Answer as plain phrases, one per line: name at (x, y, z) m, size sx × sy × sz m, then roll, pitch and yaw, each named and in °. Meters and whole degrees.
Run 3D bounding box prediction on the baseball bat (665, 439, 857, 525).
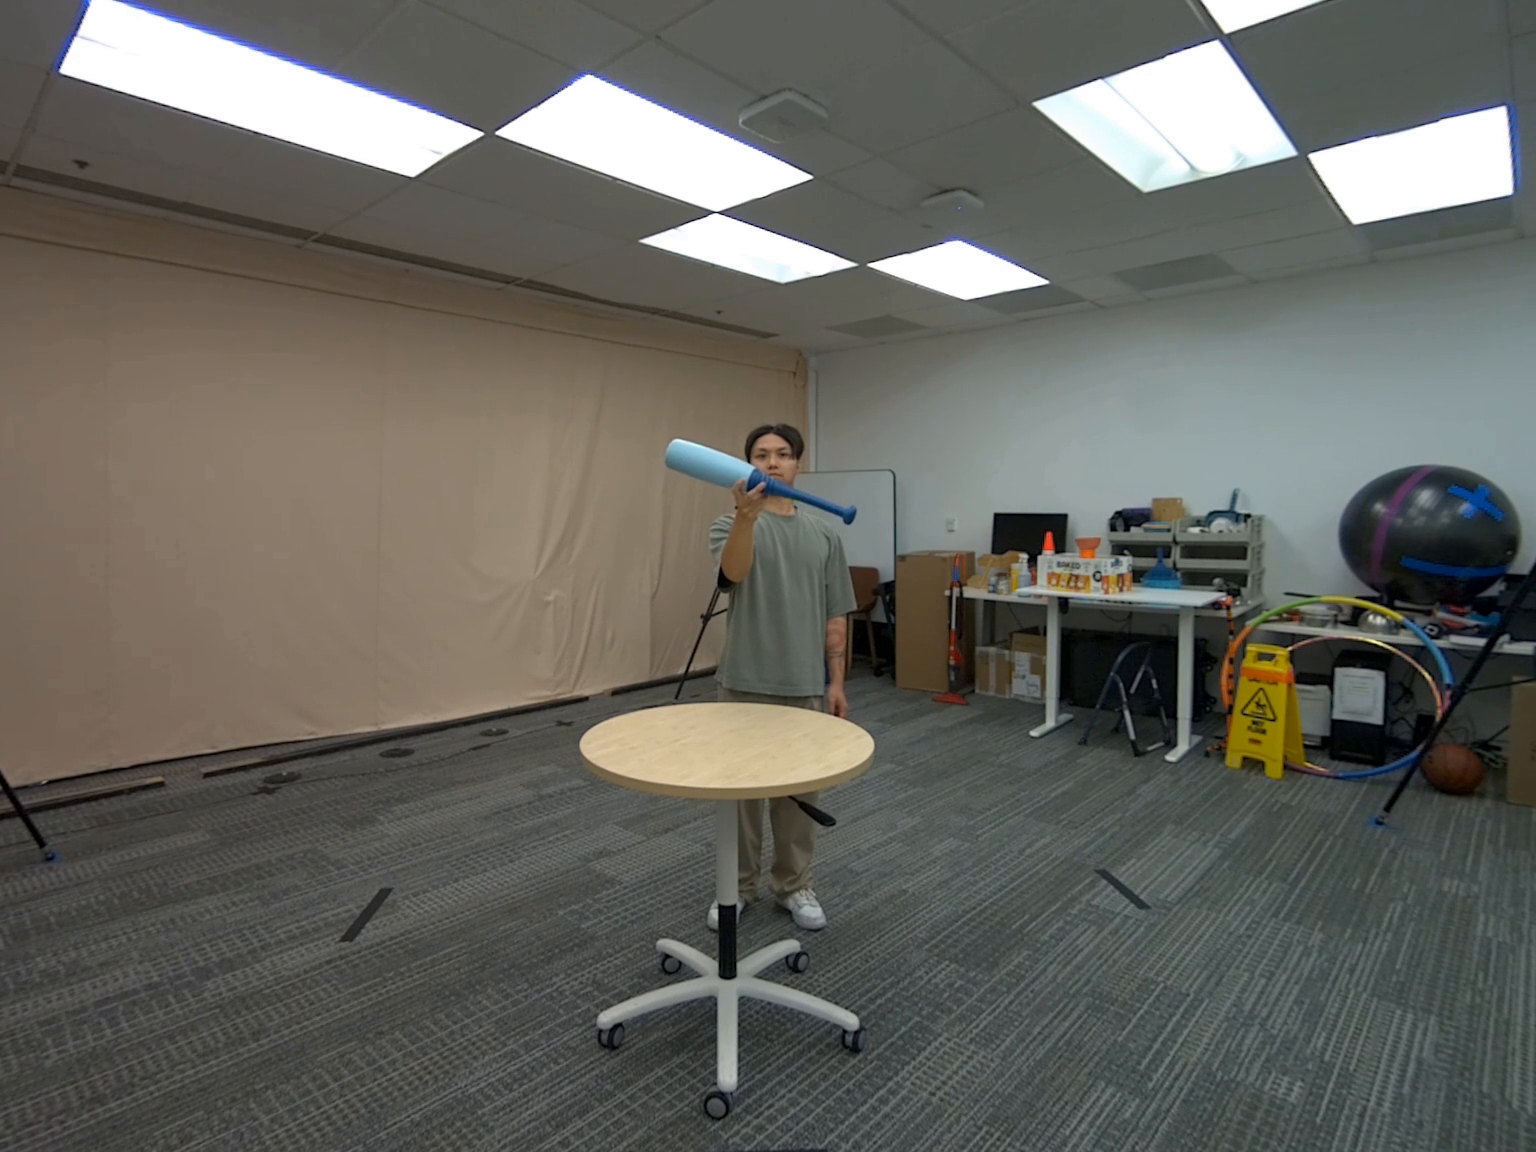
baseball bat at (-0.016, -0.248, 2.242) m, size 0.553 × 0.089 × 0.087 m, roll 21°, pitch 9°, yaw 15°
